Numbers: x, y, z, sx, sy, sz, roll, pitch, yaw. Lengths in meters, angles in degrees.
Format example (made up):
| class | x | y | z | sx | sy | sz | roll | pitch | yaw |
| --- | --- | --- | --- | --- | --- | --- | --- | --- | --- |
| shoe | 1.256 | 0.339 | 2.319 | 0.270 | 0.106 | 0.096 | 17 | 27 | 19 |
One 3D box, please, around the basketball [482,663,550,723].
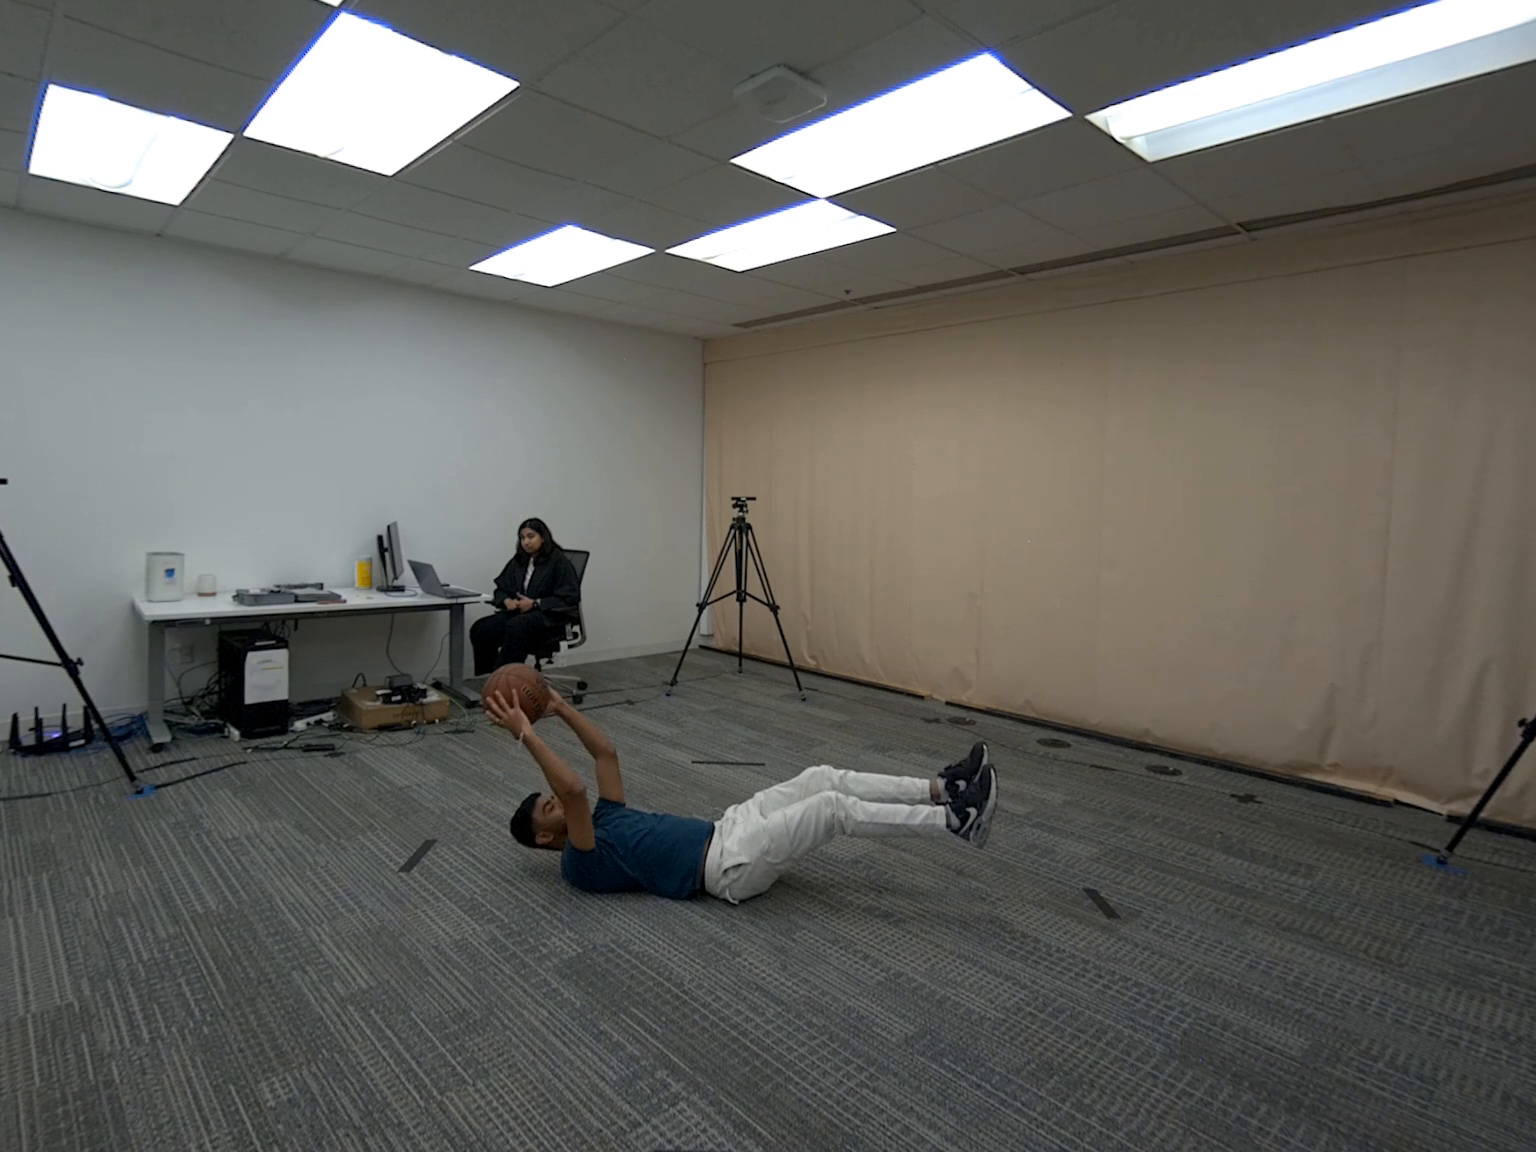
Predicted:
| class | x | y | z | sx | sy | sz | roll | pitch | yaw |
| --- | --- | --- | --- | --- | --- | --- | --- | --- | --- |
| basketball | -0.916 | 0.437 | 3.067 | 0.236 | 0.235 | 0.237 | 1 | 4 | -1 |
